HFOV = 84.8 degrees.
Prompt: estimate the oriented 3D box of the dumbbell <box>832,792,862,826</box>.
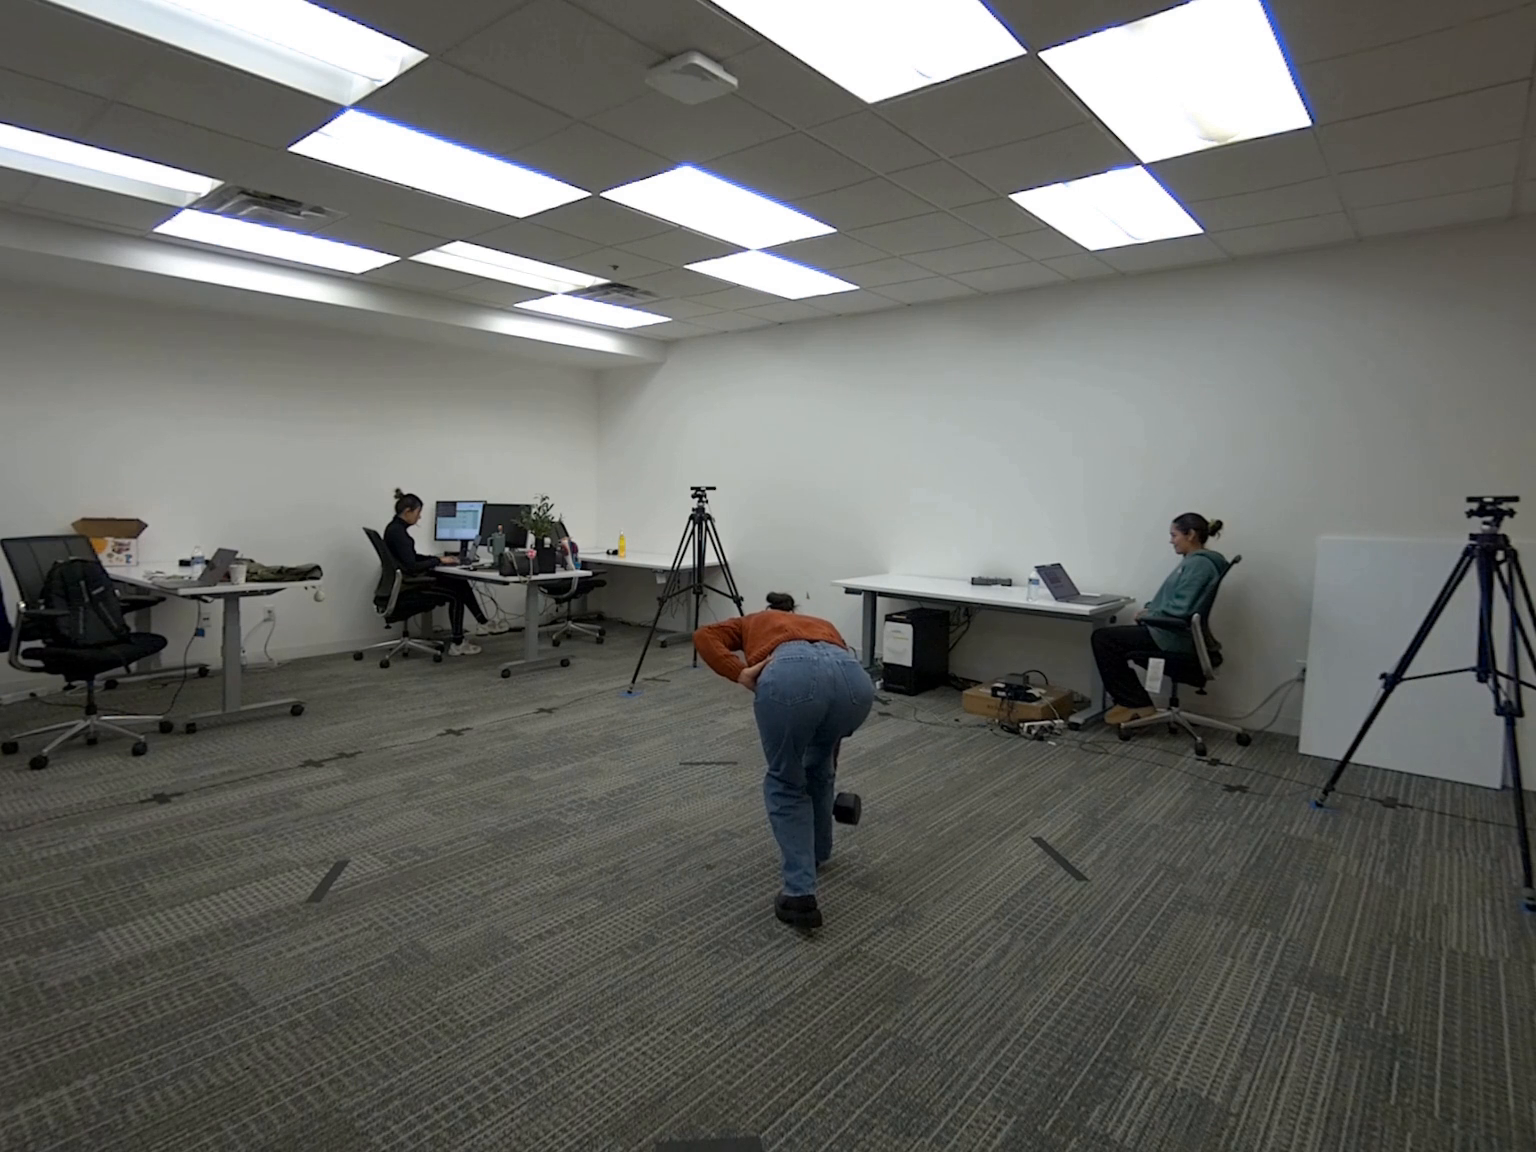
[{"bbox_3d":[0.195,0.867,3.211,0.301,0.122,0.107,1,10,24],"label":"dumbbell"}]
